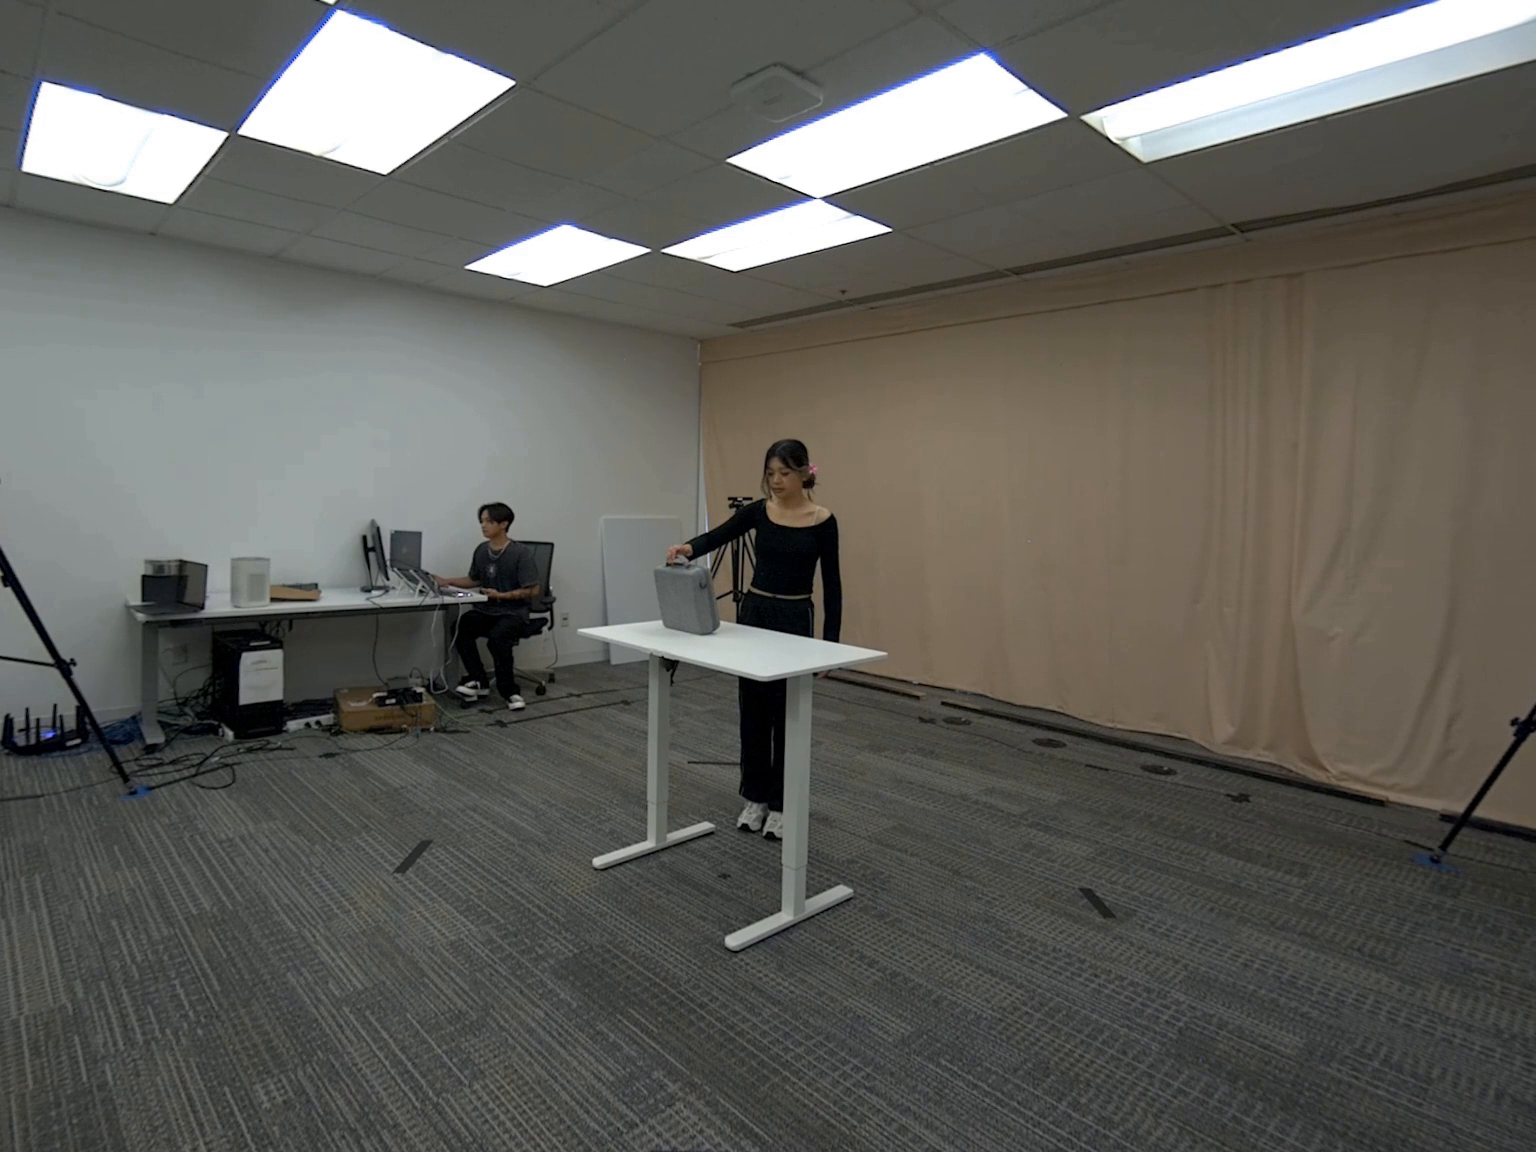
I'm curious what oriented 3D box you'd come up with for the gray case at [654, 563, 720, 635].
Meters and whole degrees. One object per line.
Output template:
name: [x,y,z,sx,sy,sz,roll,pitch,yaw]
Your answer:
gray case: [-0.316,0.080,3.185,0.103,0.258,0.263,-17,15,-38]
